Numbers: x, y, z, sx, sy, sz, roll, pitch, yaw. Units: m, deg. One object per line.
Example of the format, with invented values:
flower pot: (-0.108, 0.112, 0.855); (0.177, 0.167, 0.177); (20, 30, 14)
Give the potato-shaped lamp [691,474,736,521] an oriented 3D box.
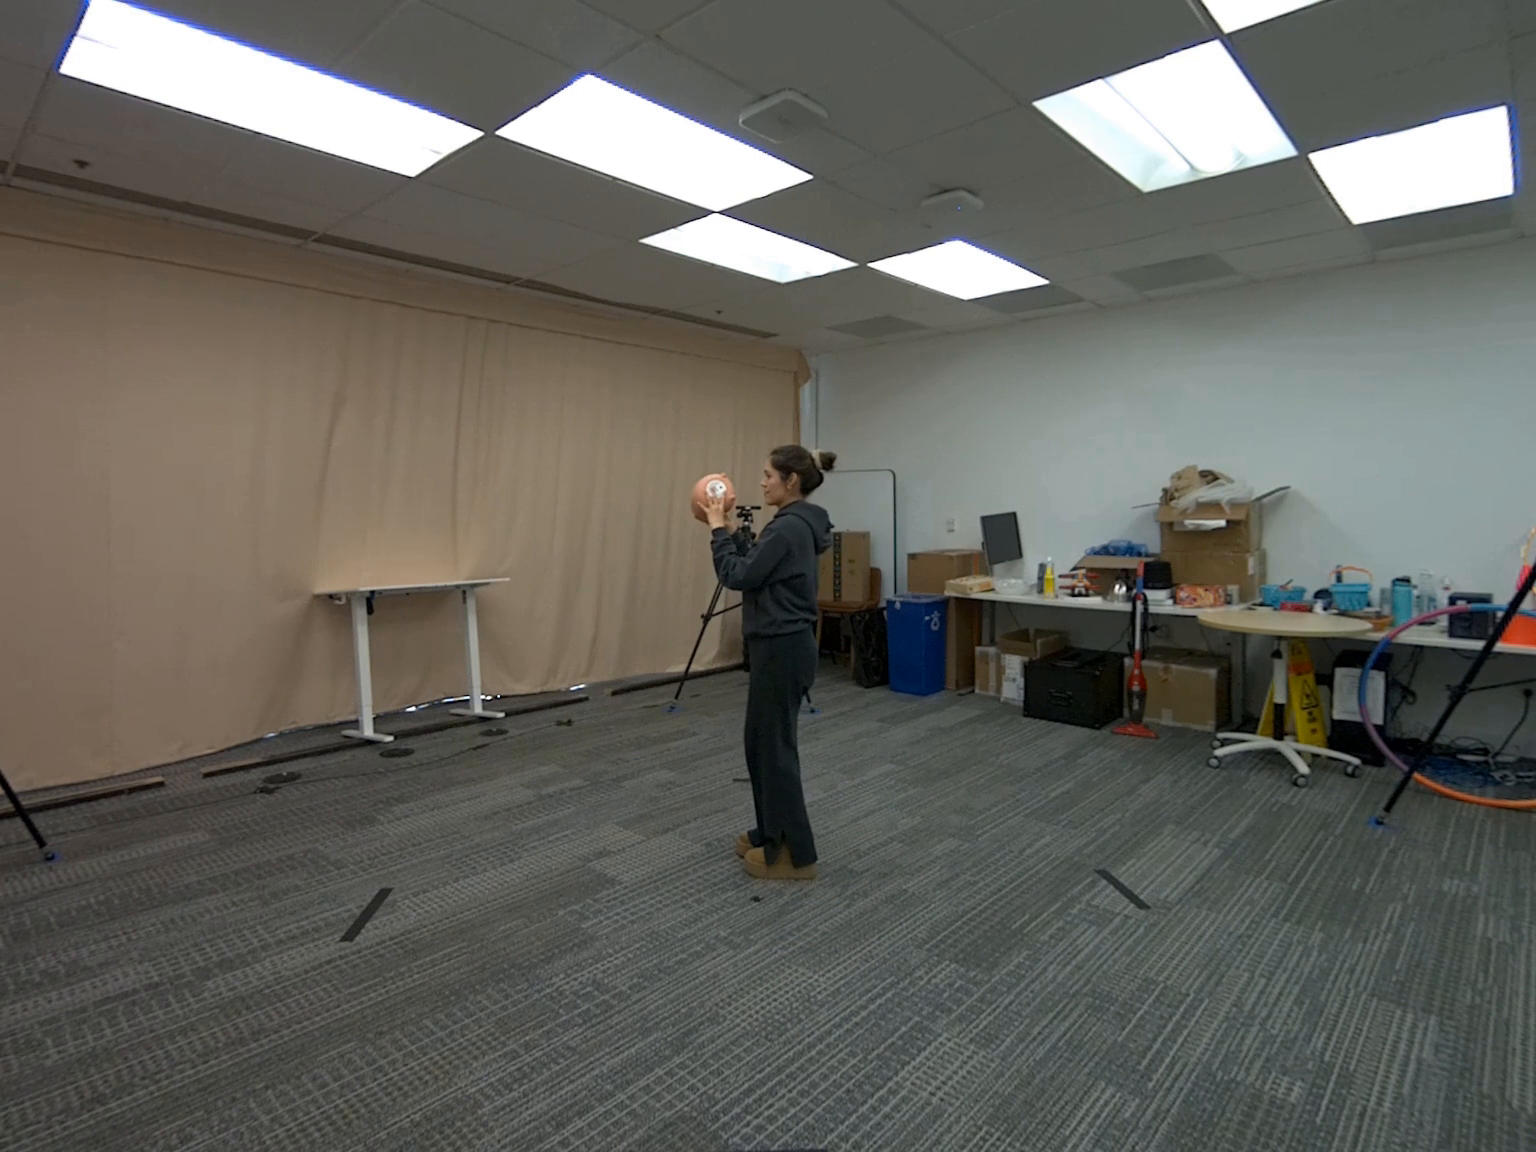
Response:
potato-shaped lamp: (-0.209, -0.306, 3.359); (0.162, 0.172, 0.200); (-25, -3, -23)
